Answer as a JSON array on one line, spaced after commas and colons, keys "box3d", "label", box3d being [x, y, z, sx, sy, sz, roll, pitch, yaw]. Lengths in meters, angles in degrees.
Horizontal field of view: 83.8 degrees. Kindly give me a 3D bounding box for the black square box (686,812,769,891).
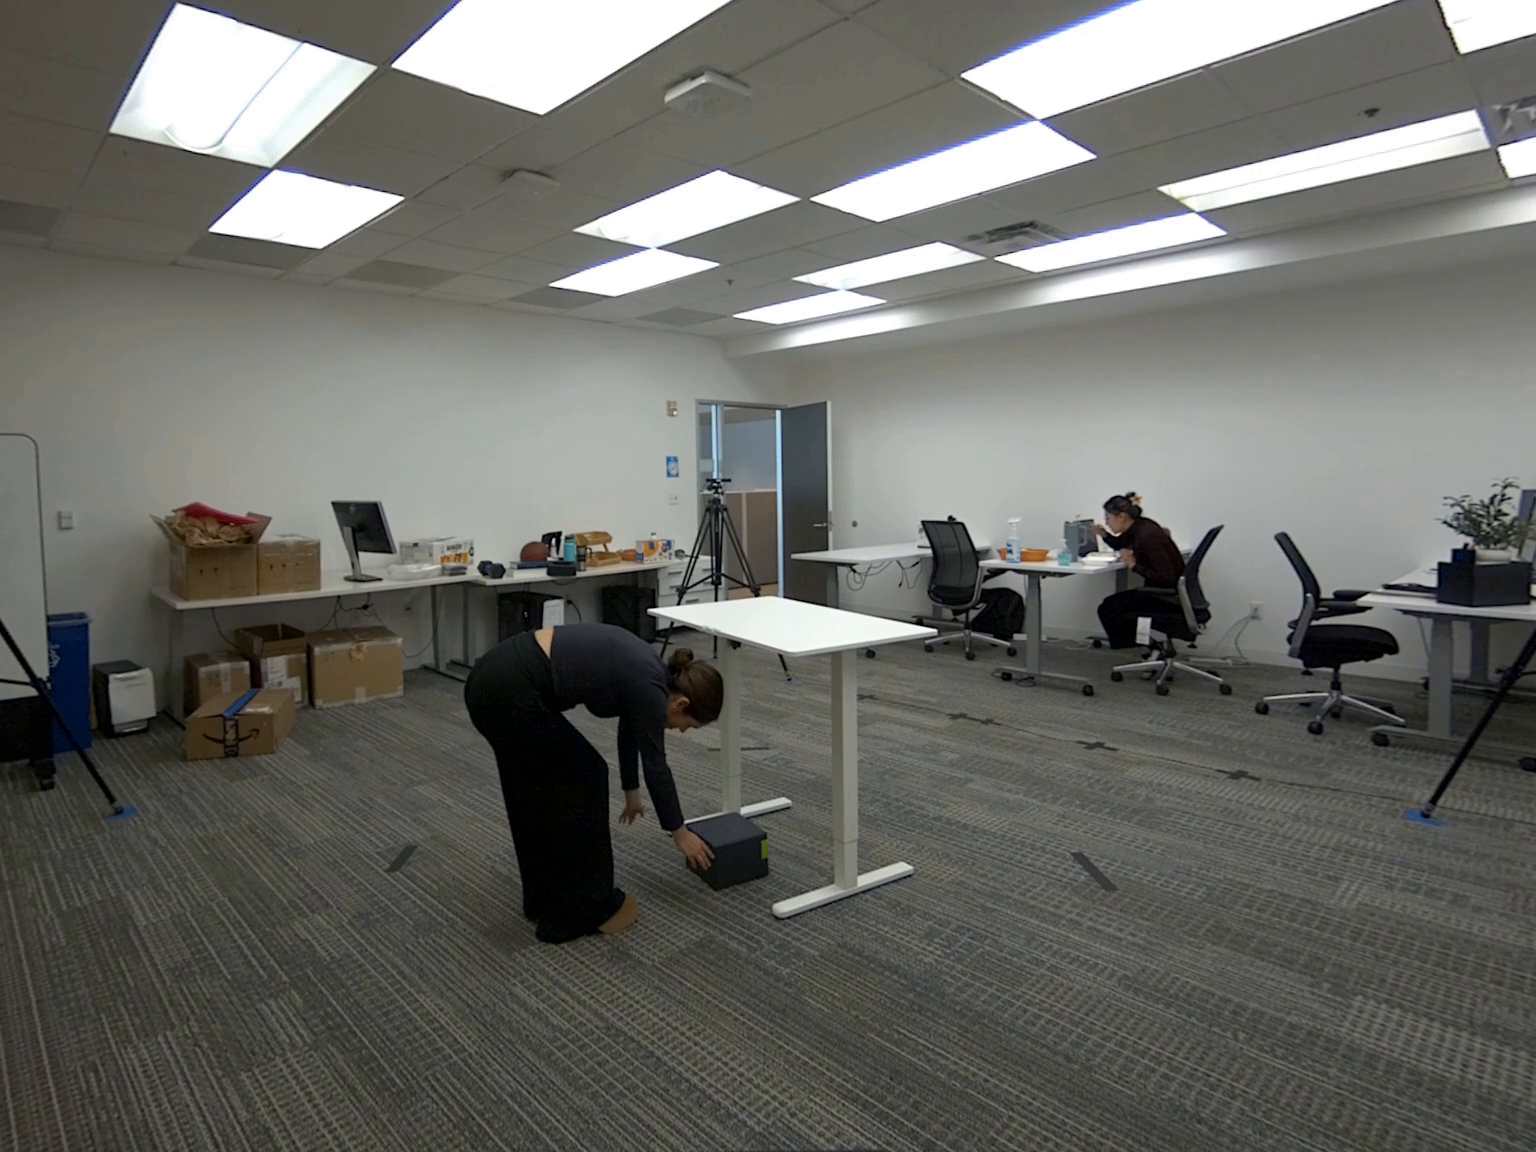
[{"box3d": [-0.147, 0.969, 3.041, 0.212, 0.155, 0.234, -4, 7, -31], "label": "black square box"}]
